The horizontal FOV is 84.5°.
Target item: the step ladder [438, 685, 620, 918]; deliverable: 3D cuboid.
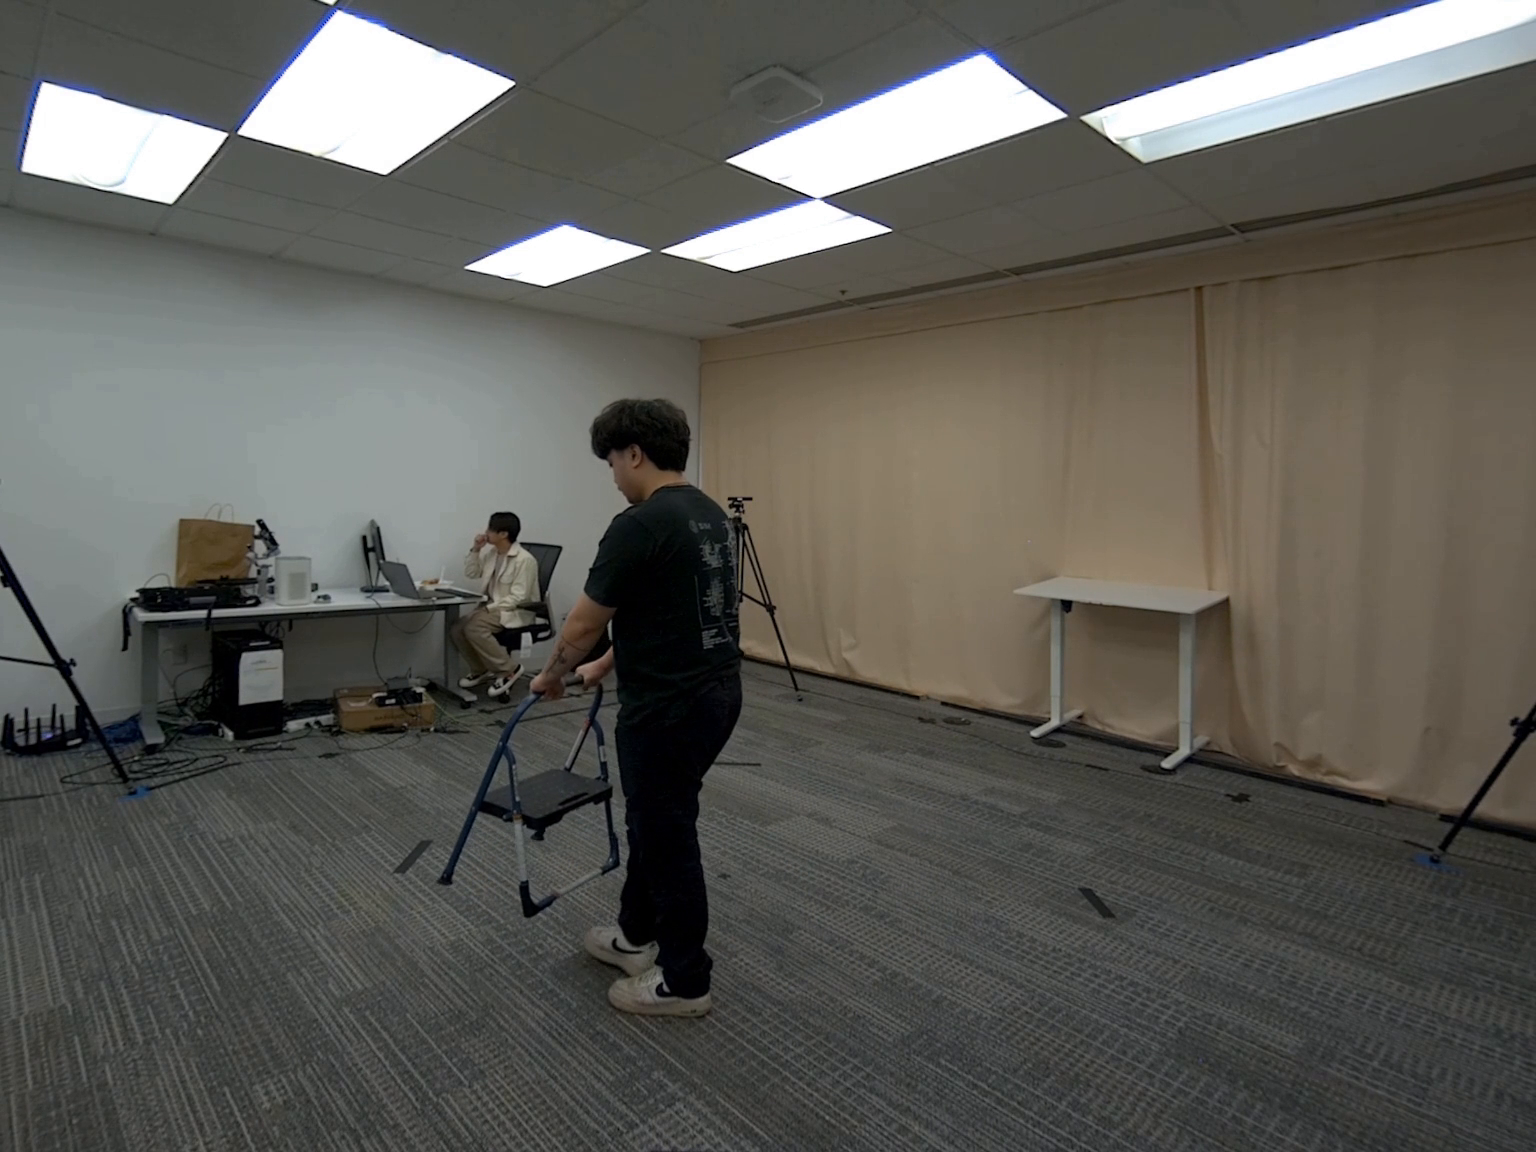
[{"bbox_3d":[-0.674,0.599,2.477,0.357,0.604,0.423,7,4,26],"label":"step ladder"}]
